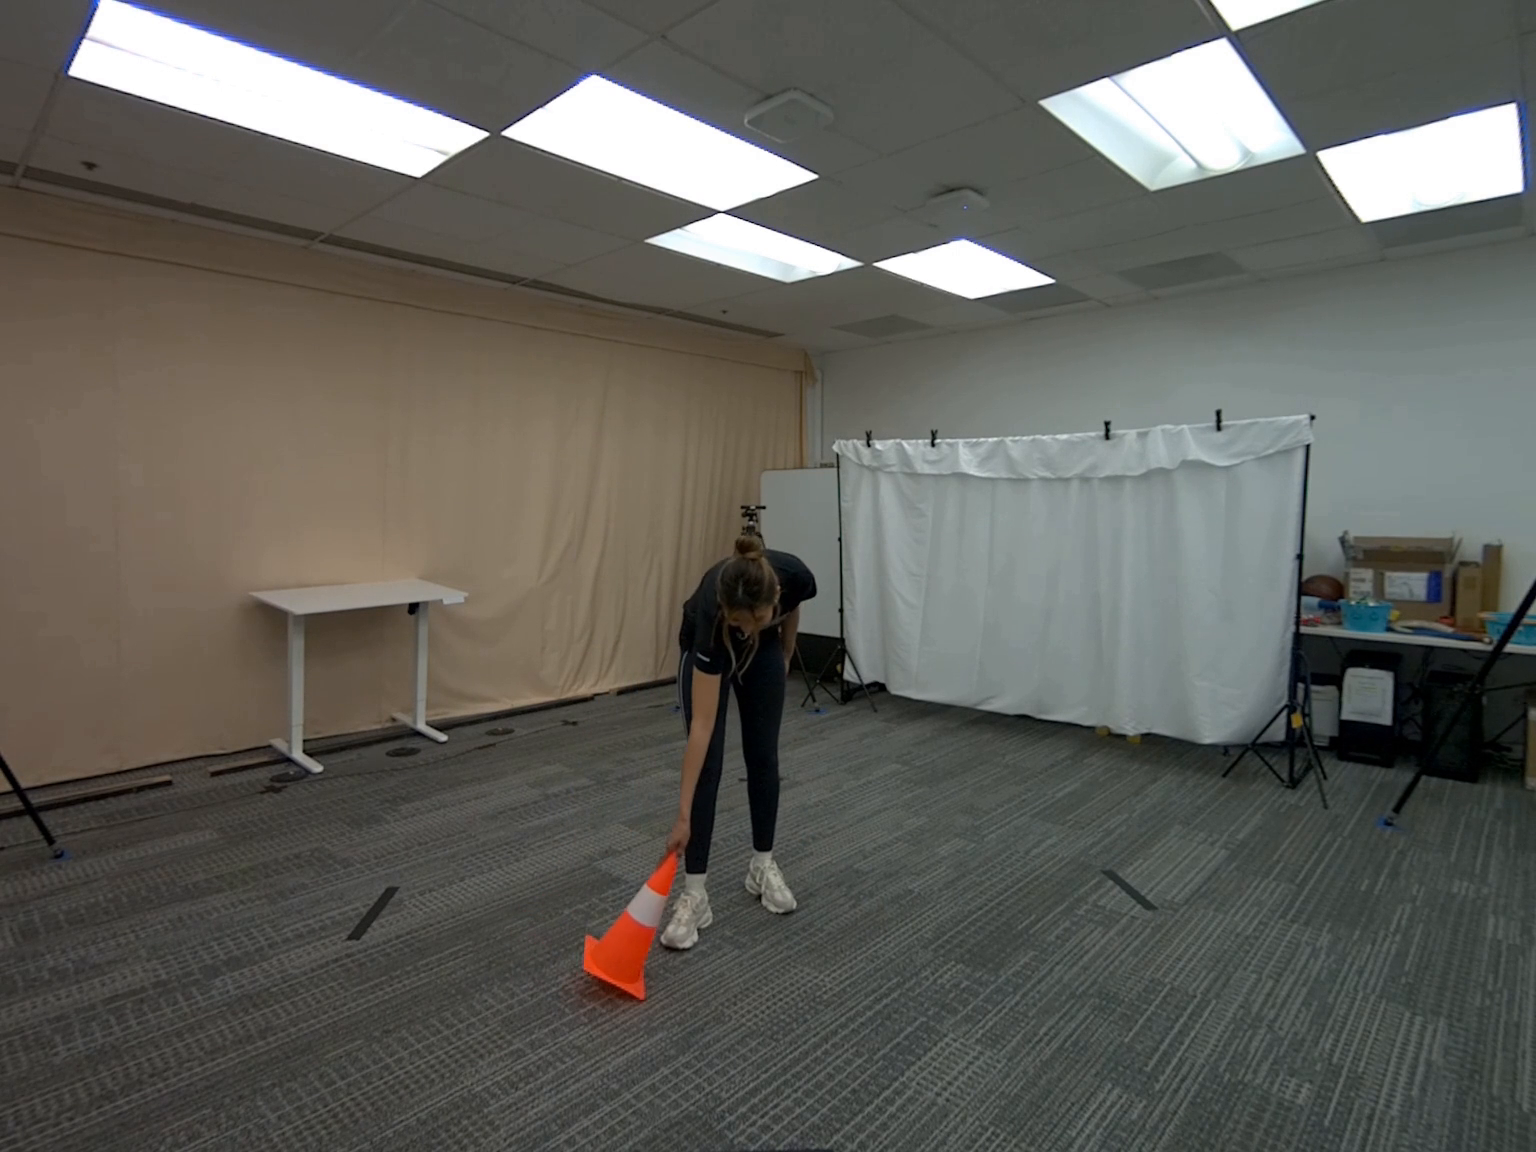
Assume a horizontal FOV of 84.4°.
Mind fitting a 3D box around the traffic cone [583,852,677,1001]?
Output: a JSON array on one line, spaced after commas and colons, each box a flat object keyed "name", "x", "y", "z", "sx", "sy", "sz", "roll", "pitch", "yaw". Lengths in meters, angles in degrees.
[{"name": "traffic cone", "x": -0.351, "y": 0.984, "z": 2.448, "sx": 0.201, "sy": 0.383, "sz": 0.207, "roll": 30, "pitch": -1, "yaw": -16}]
